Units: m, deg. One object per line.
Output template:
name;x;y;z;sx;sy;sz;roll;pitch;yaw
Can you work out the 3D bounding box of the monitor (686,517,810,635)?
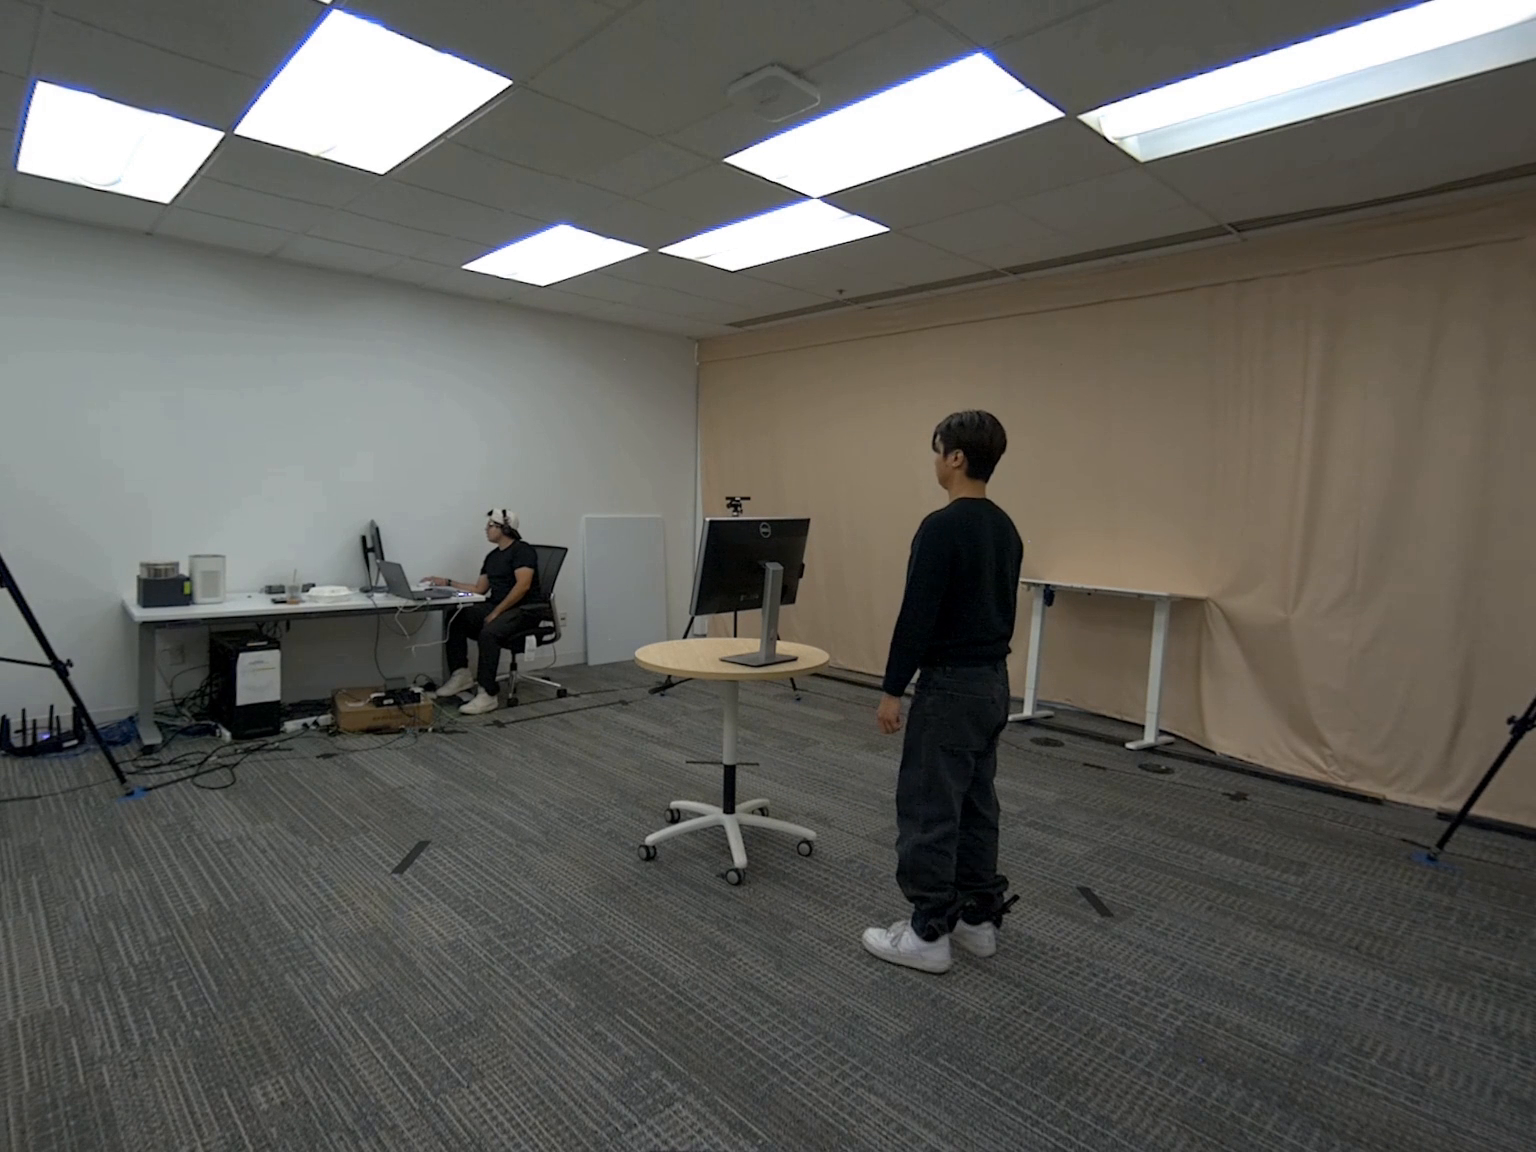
monitor;-0.040;0.054;3.172;0.192;0.522;0.527;2;3;41
